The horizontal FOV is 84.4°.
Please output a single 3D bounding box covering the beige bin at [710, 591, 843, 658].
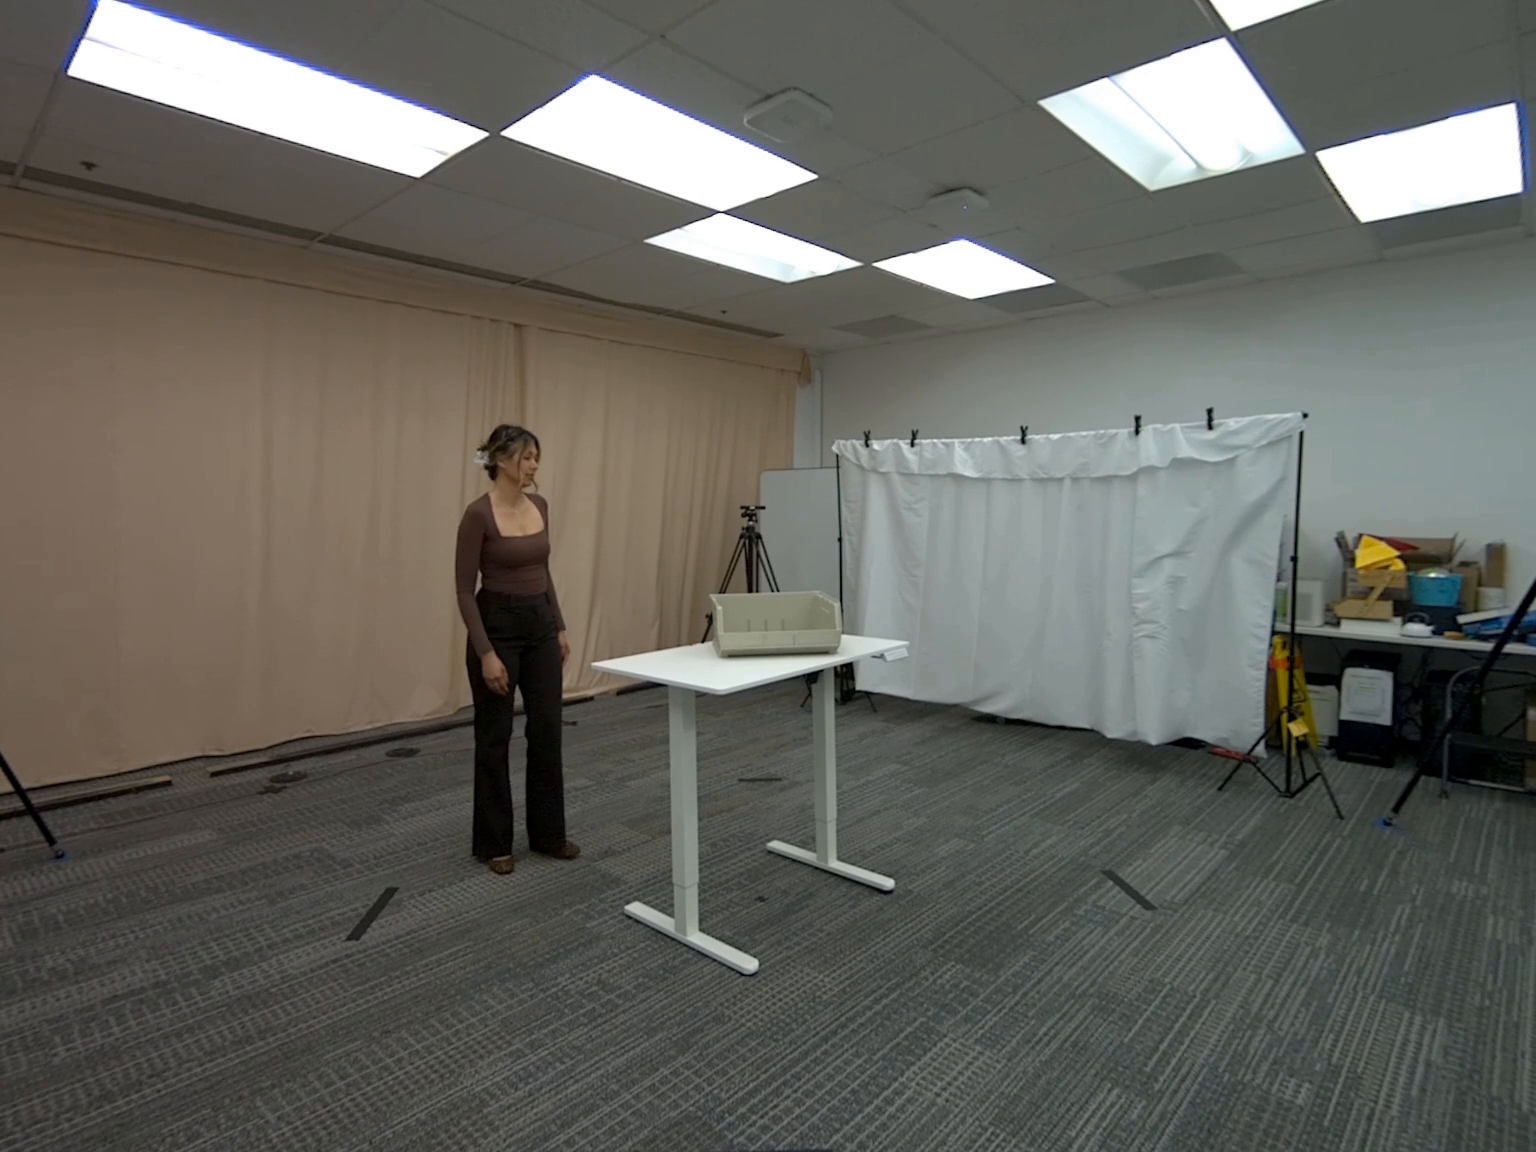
[{"bbox_3d":[0.018,0.175,2.983,0.420,0.188,0.380,-2,4,-6],"label":"beige bin"}]
